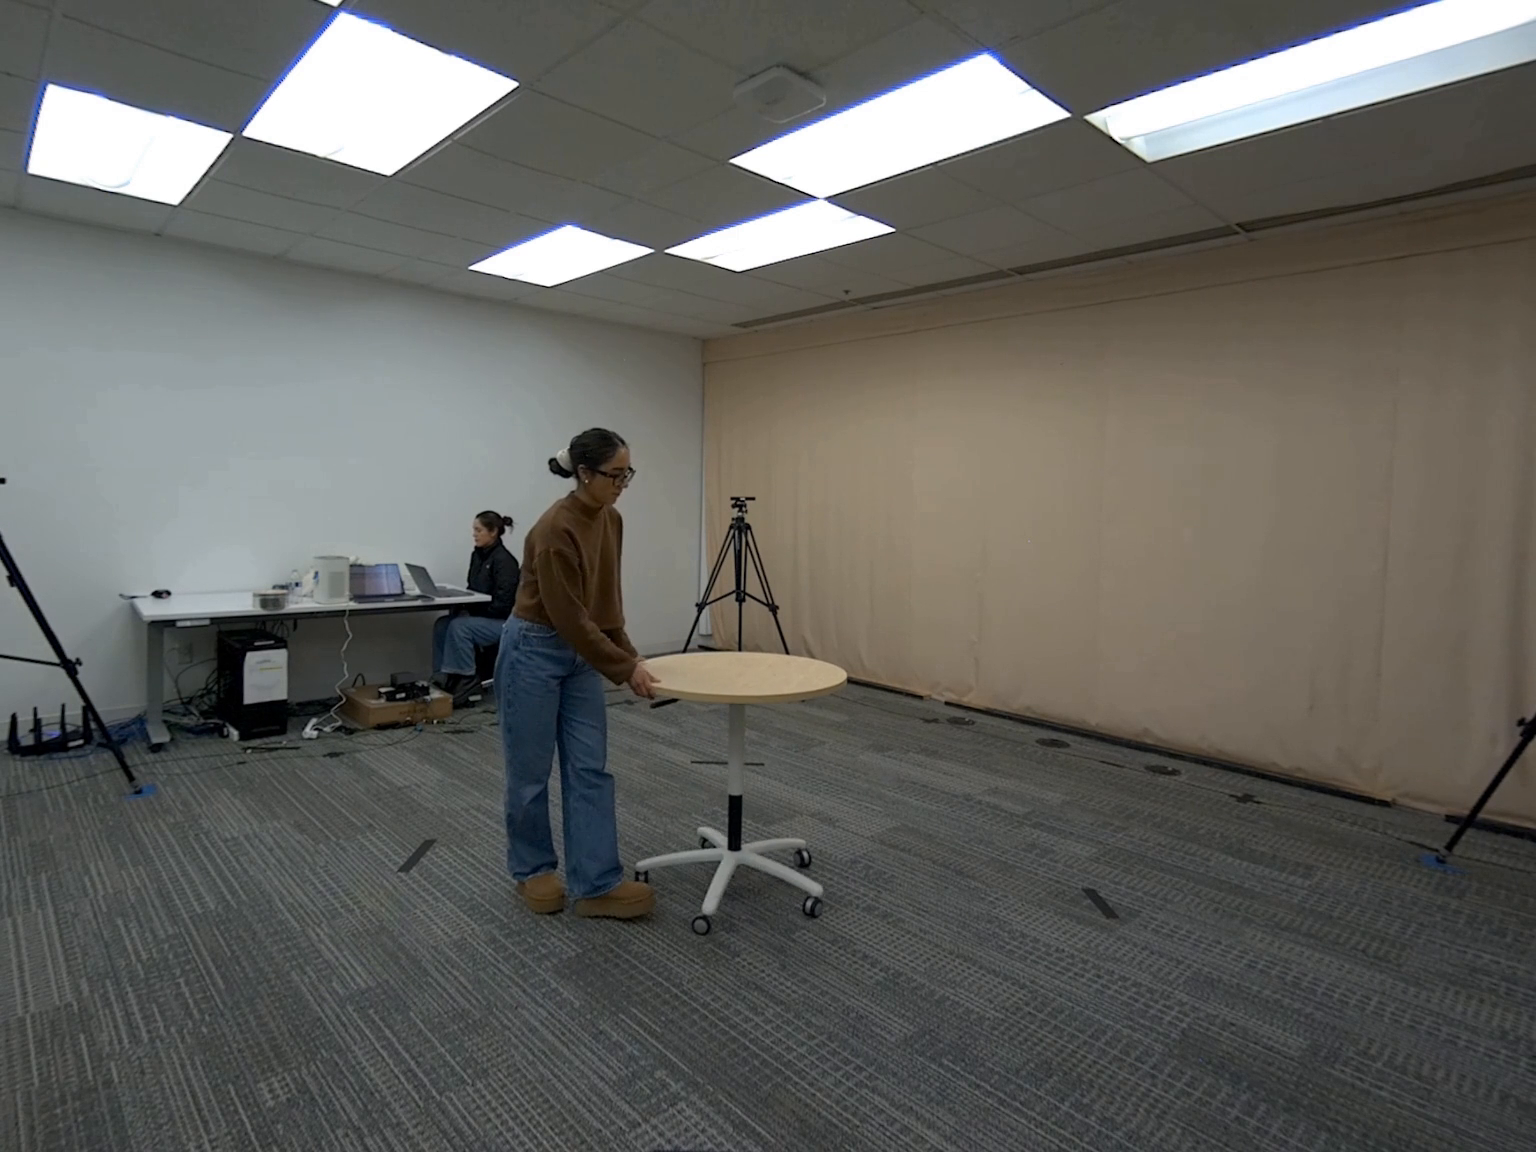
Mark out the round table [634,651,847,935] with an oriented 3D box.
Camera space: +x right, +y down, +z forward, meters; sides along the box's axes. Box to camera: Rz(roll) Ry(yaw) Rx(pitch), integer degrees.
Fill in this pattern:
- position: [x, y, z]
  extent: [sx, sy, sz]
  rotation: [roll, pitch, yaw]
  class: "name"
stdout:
- position: [-0.134, 0.723, 2.994]
  extent: [0.784, 0.784, 0.788]
  rotation: [1, 4, -1]
  class: "round table"
